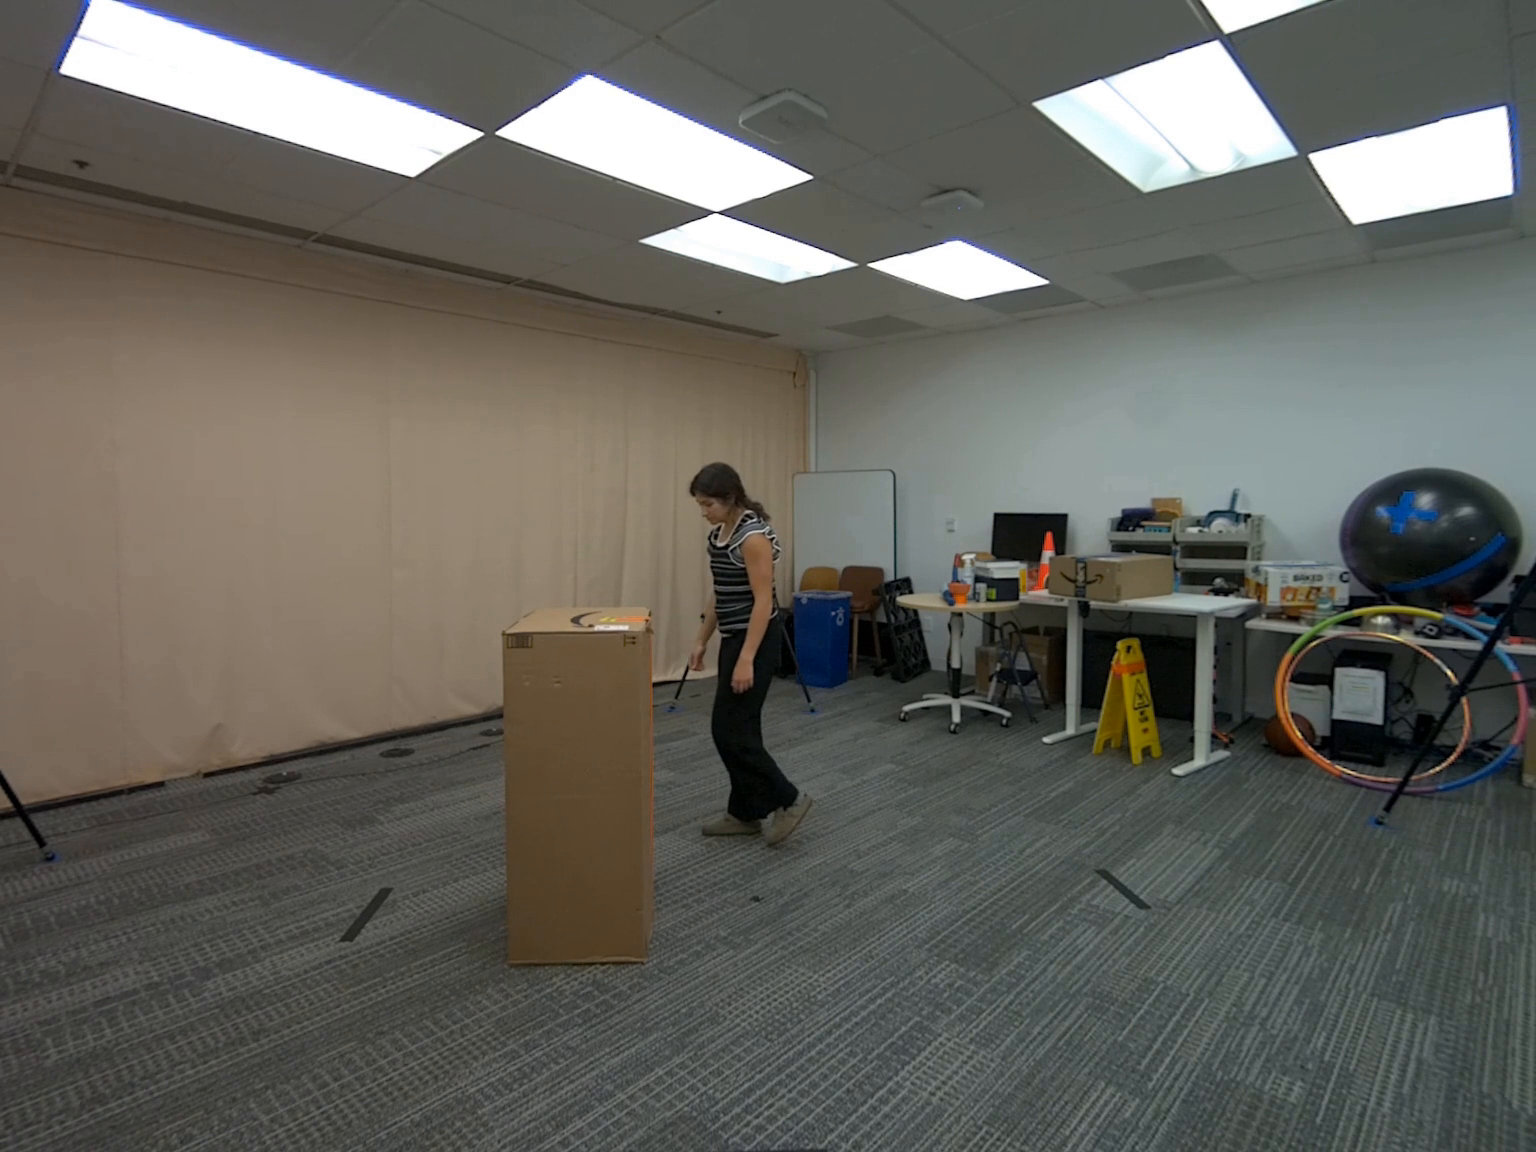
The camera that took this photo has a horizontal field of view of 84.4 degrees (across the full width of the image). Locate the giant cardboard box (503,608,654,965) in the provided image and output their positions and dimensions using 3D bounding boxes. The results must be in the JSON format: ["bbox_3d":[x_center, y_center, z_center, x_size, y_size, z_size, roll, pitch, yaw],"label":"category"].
[{"bbox_3d":[-0.613,0.653,2.823,0.425,1.024,0.580,0,3,-3],"label":"giant cardboard box"}]
